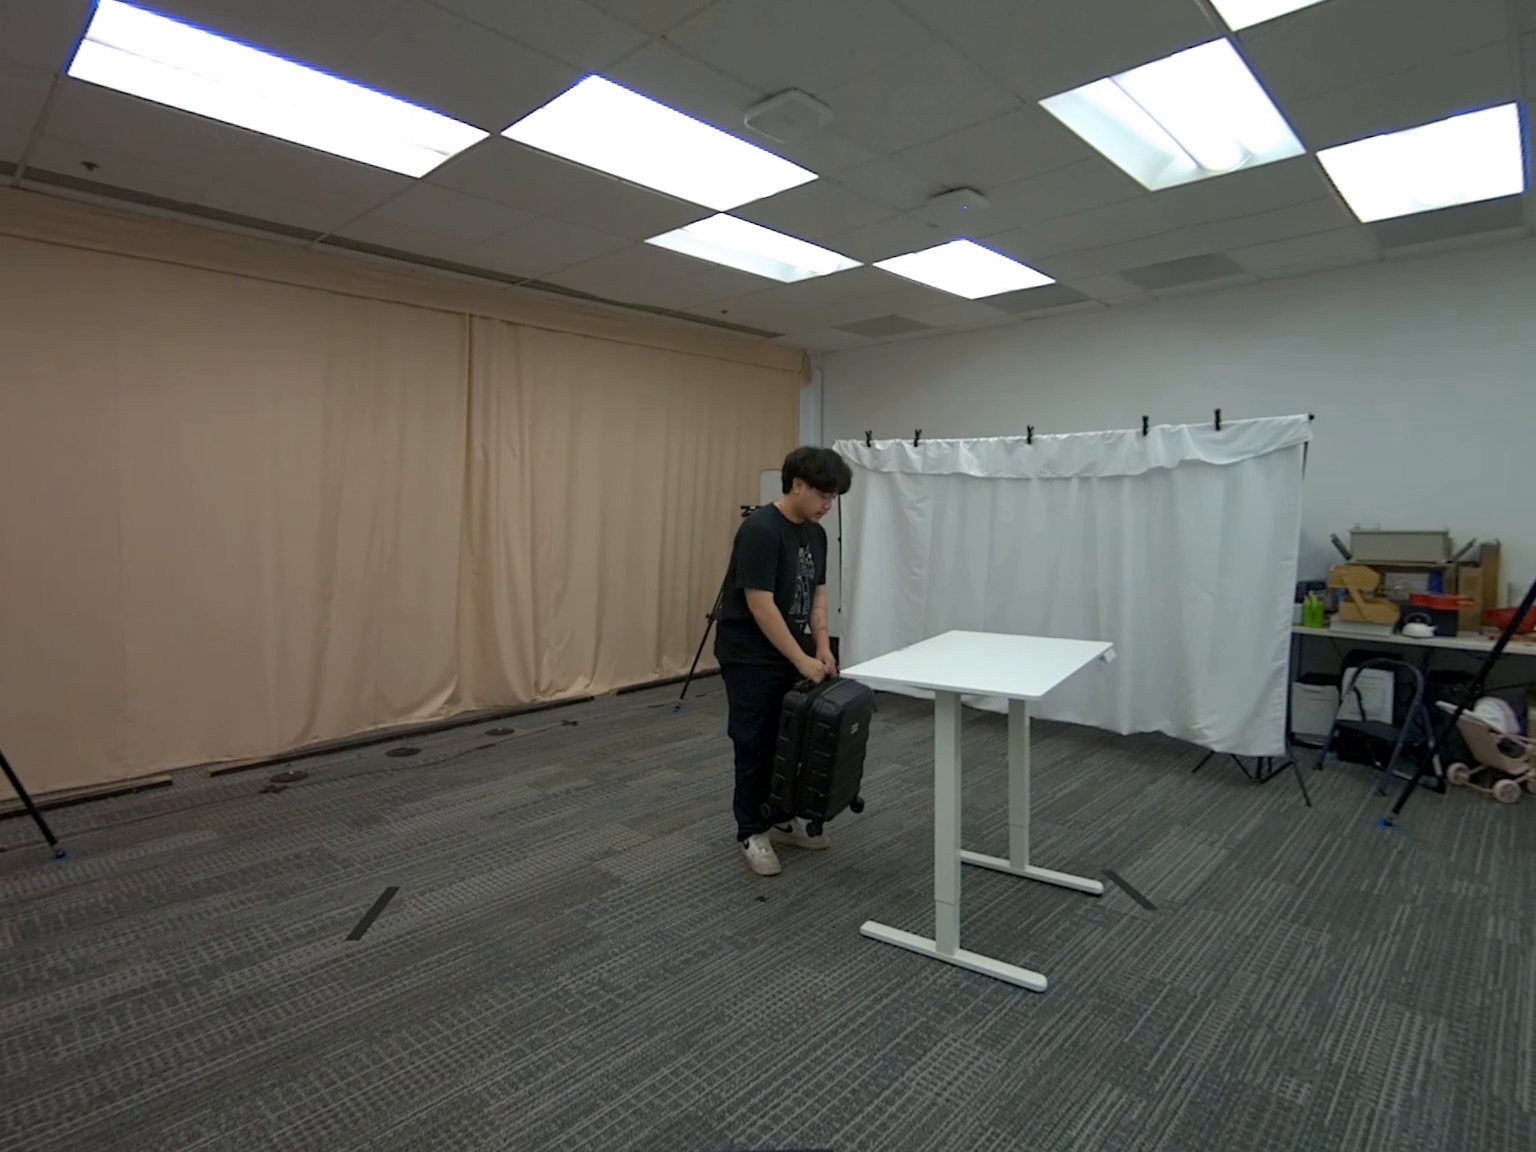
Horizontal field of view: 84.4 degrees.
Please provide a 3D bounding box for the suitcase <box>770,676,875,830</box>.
[{"bbox_3d":[0.216,0.671,3.225,0.256,0.545,0.366,15,16,31],"label":"suitcase"}]
